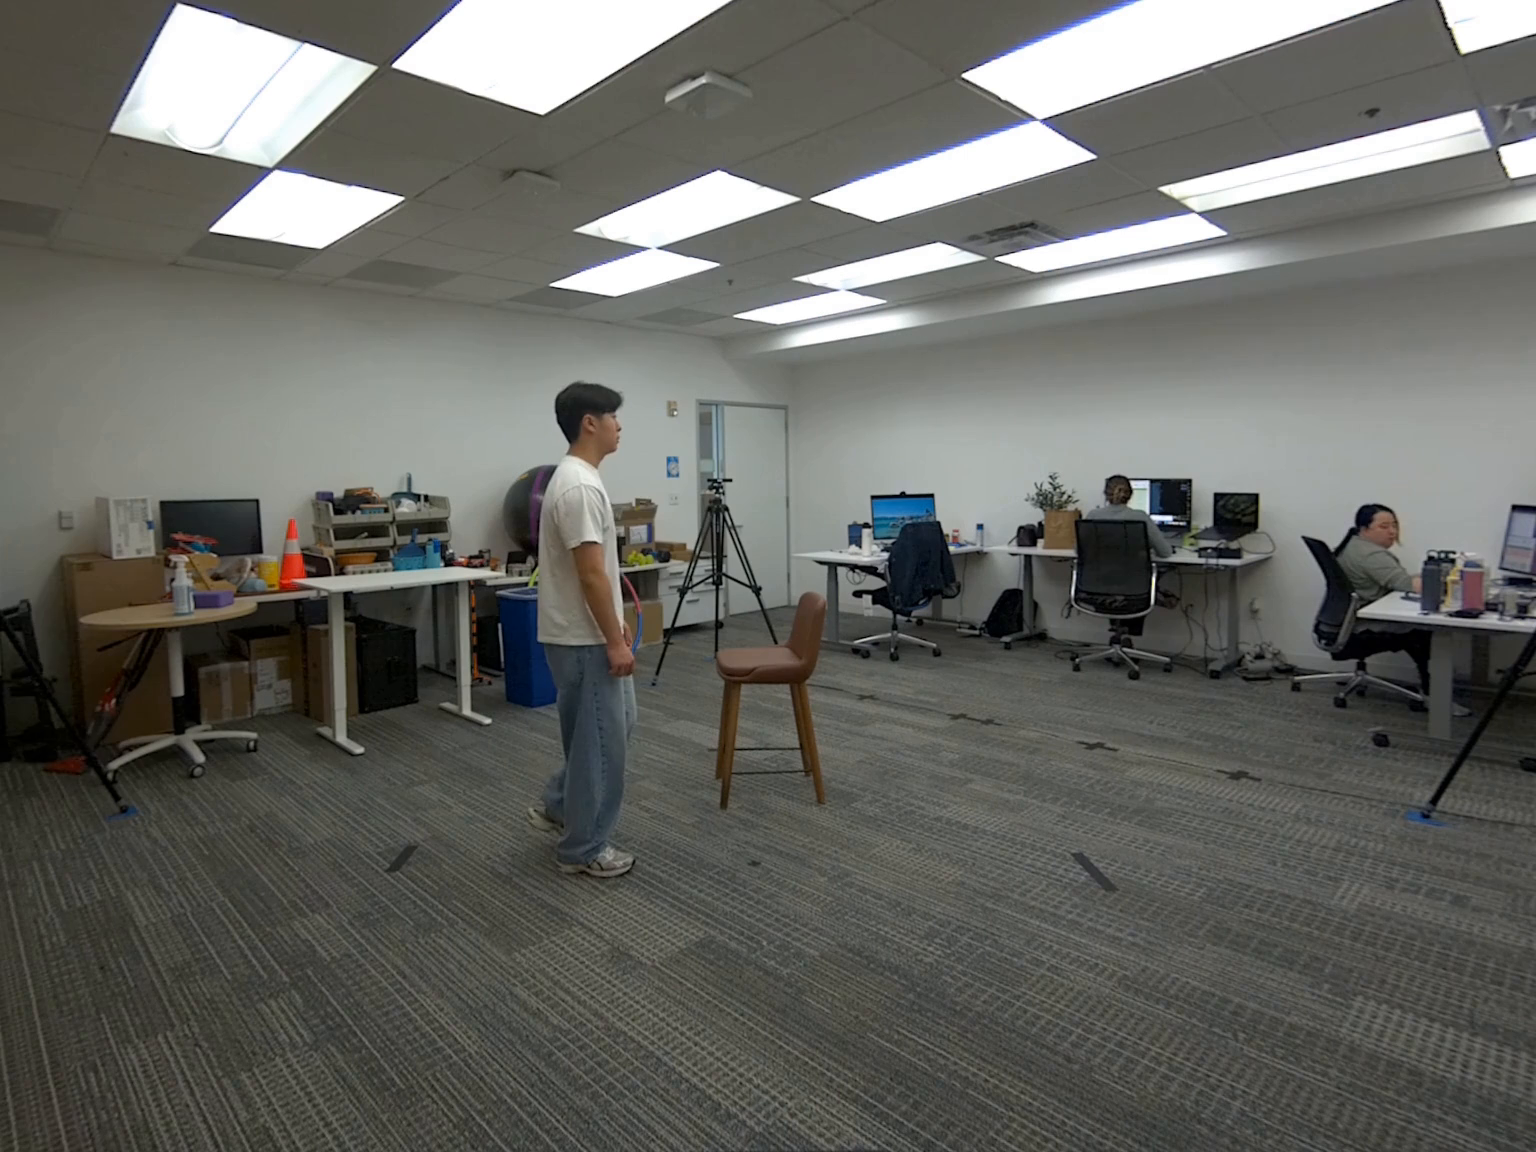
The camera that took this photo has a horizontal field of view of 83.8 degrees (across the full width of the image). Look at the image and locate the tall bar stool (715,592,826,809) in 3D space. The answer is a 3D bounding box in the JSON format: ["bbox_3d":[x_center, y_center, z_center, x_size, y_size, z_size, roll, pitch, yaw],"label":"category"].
[{"bbox_3d":[0.006,0.531,3.809,0.465,0.887,0.460,1,3,-6],"label":"tall bar stool"}]
